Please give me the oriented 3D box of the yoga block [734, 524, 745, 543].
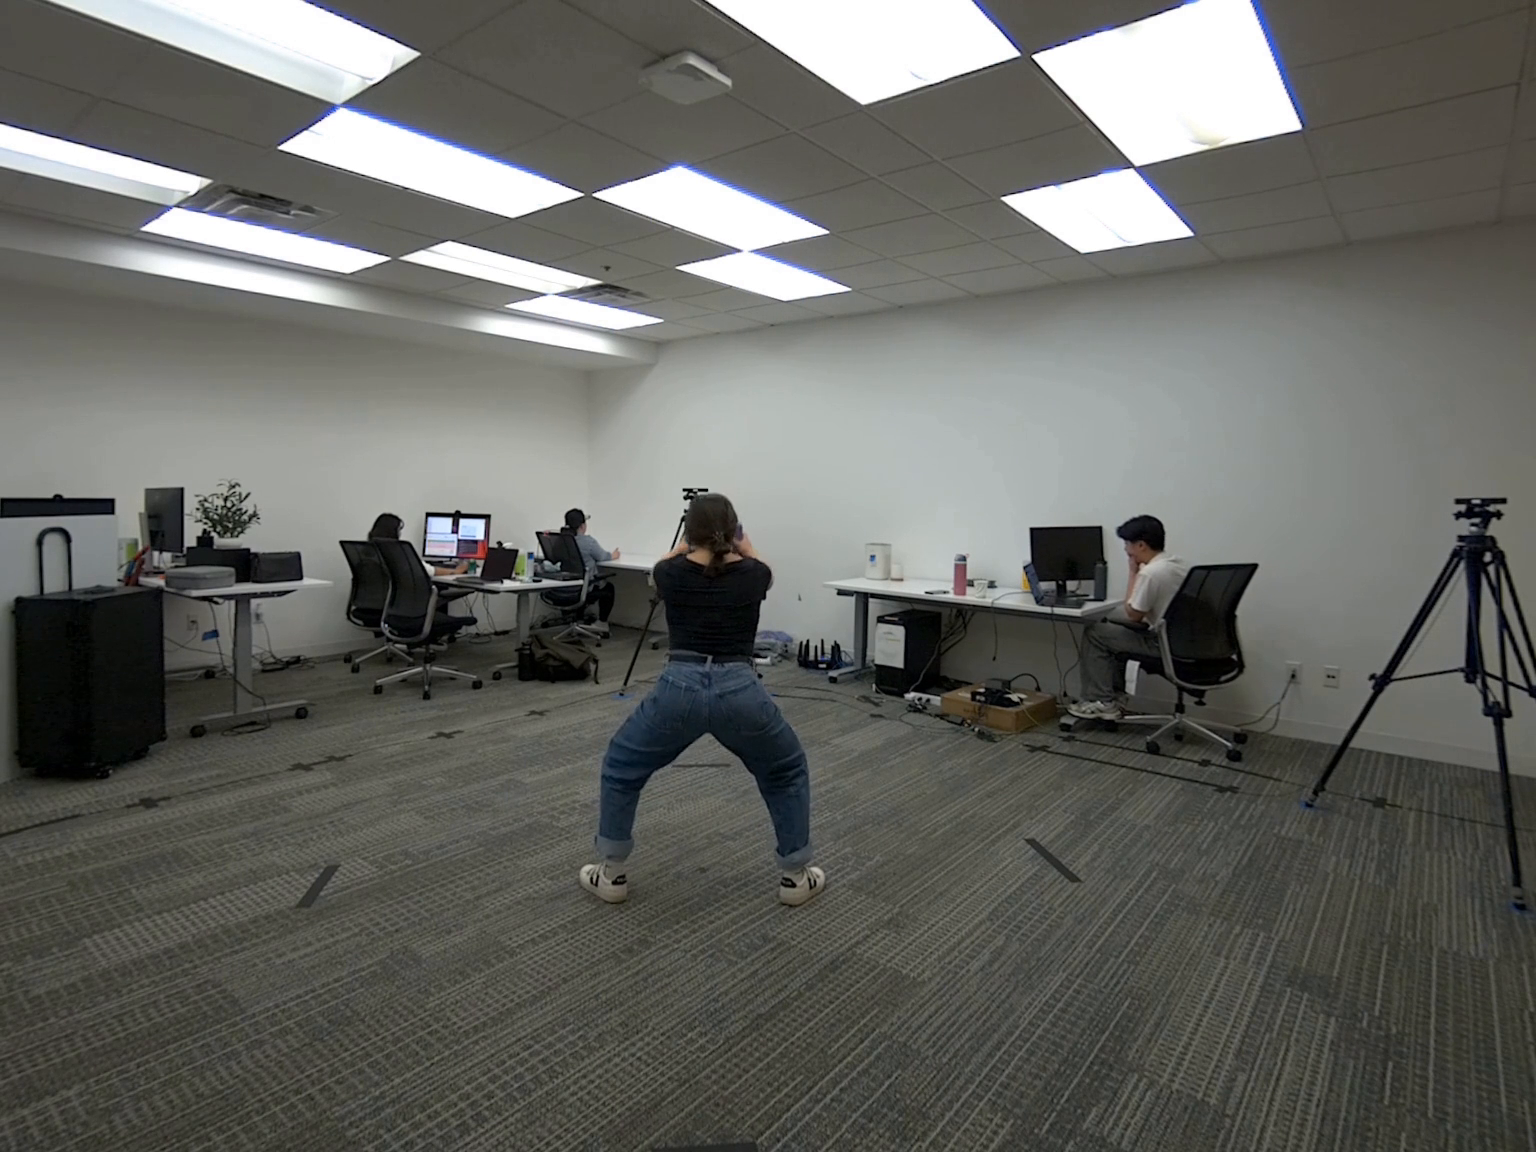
[{"bbox_3d":[-0.217,-0.118,3.472,0.230,0.147,0.077,-2,10,1],"label":"yoga block"}]
